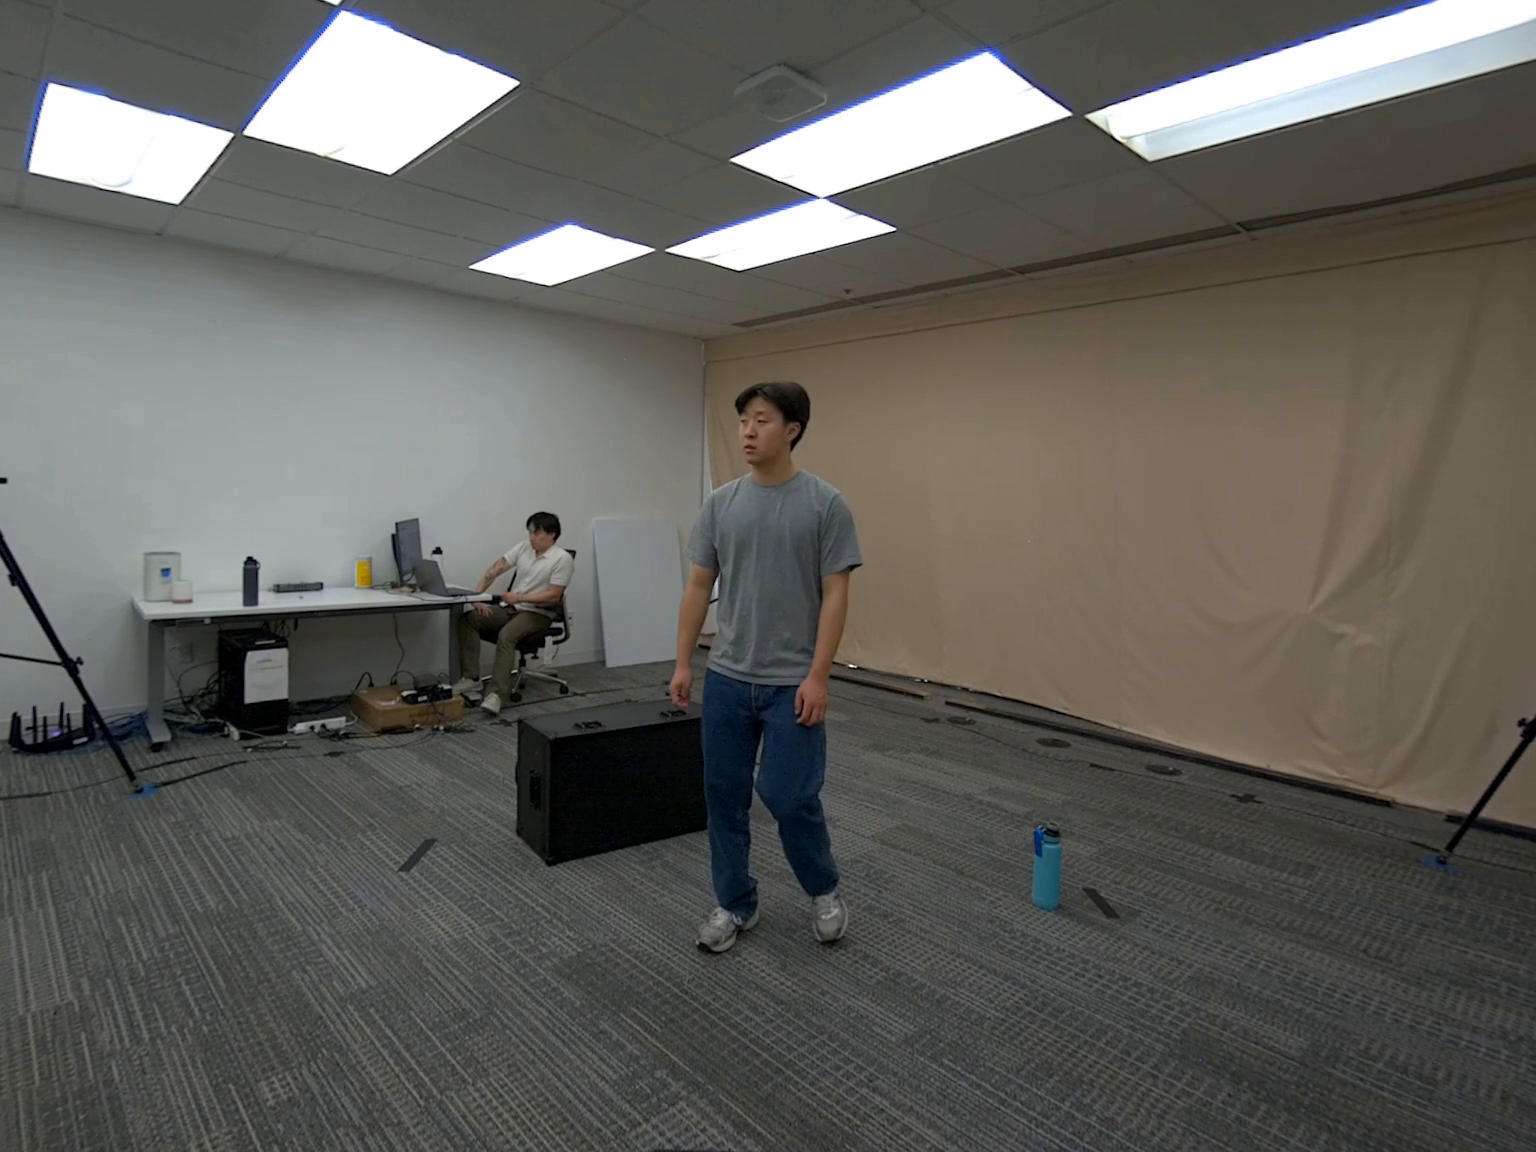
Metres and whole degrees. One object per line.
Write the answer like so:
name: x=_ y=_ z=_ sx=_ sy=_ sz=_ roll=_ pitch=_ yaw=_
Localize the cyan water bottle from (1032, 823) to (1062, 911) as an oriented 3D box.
cyan water bottle: x=0.972 y=1.011 z=2.945 sx=0.092 sy=0.282 sz=0.093 roll=1 pitch=4 yaw=-1
